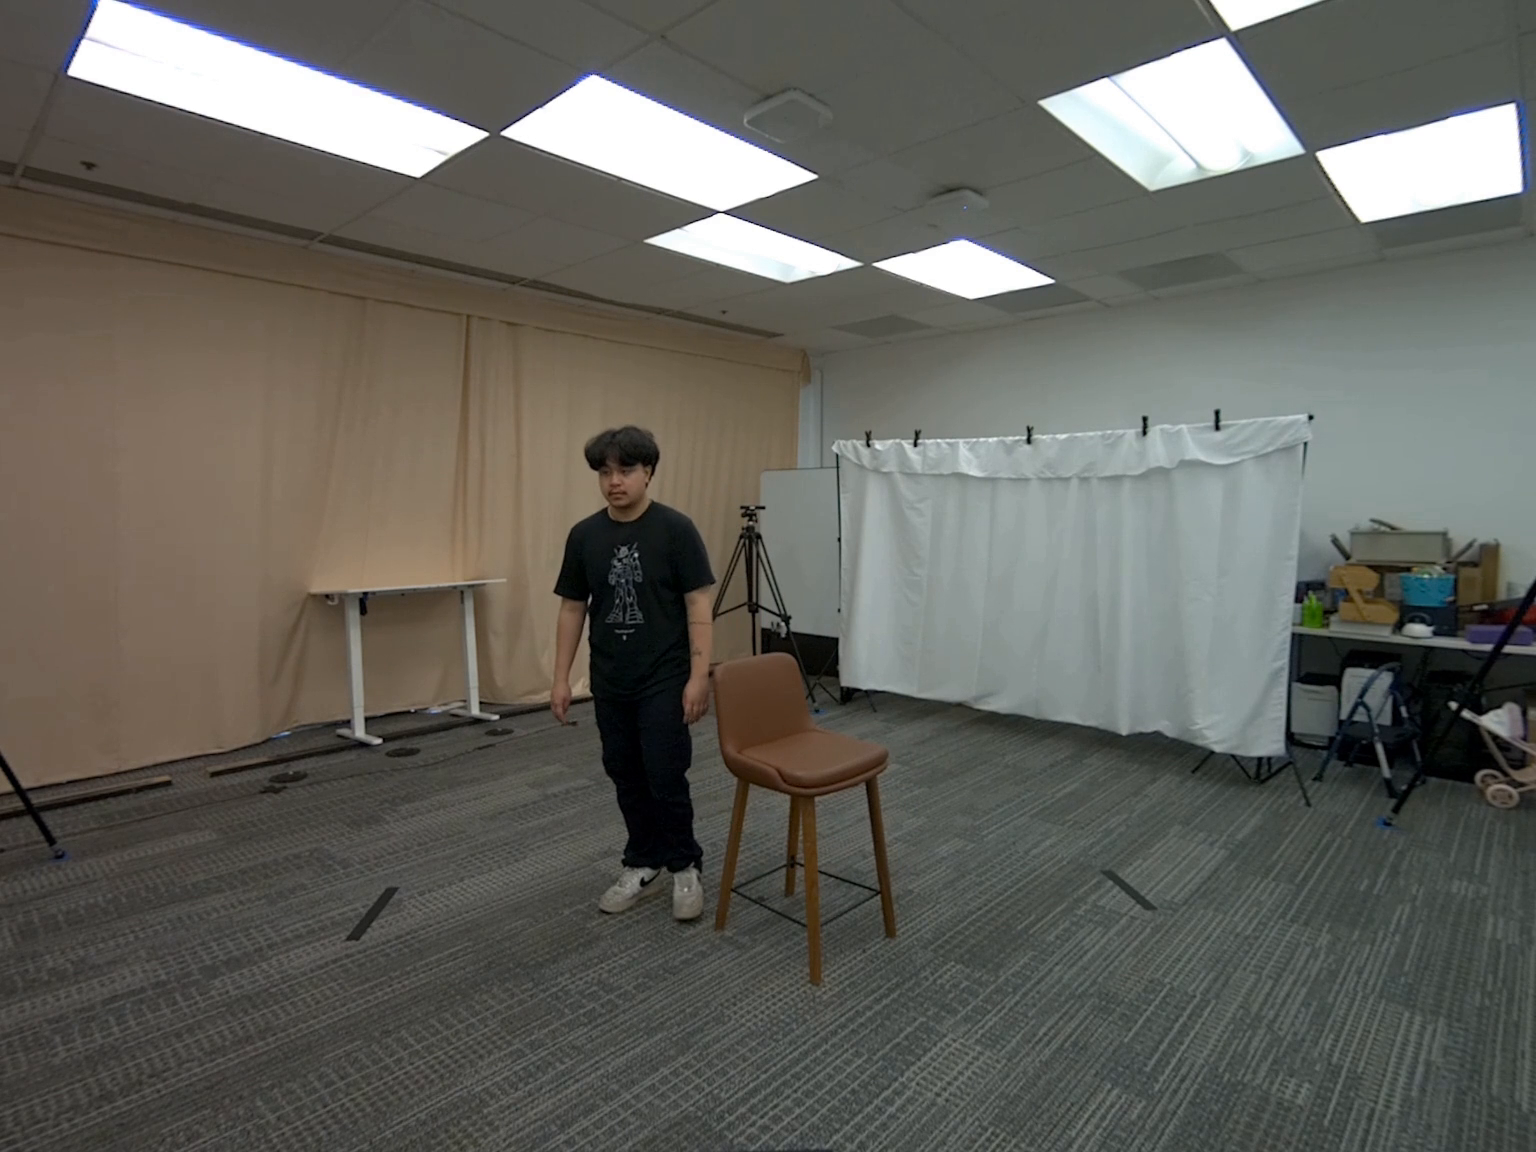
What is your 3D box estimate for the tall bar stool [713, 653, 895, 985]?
[{"bbox_3d":[0.113,0.732,2.720,0.483,0.888,0.442,0,3,45],"label":"tall bar stool"}]
